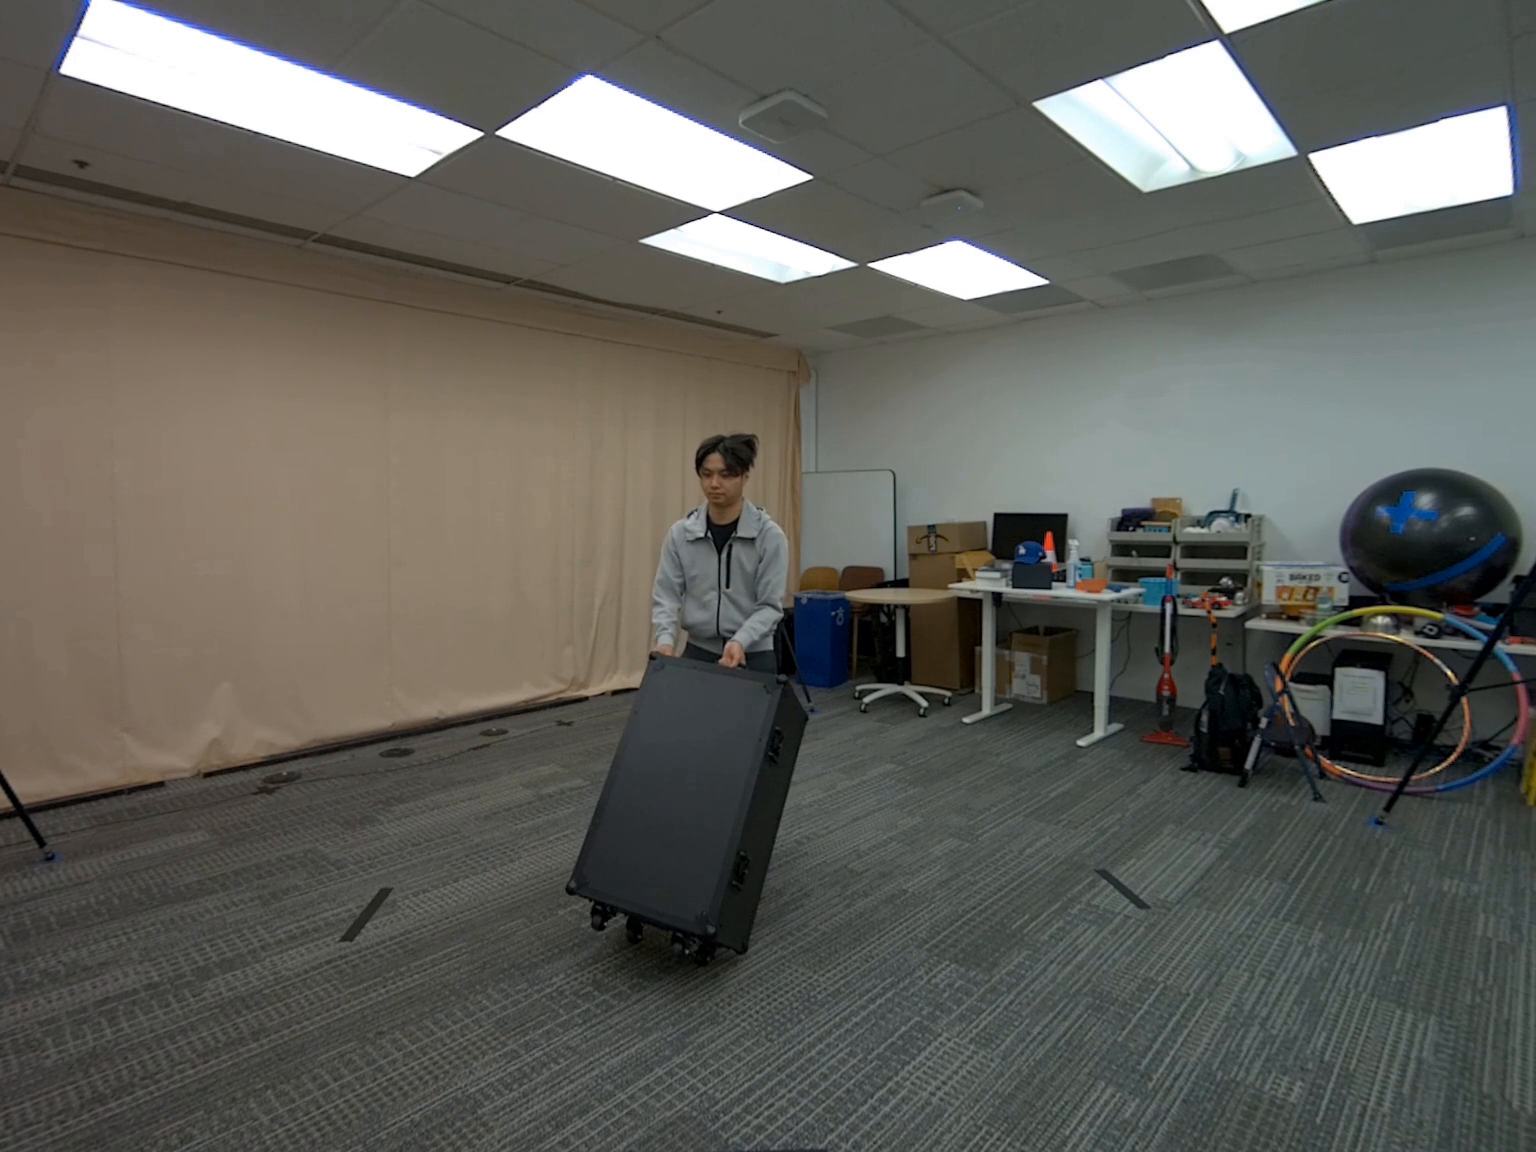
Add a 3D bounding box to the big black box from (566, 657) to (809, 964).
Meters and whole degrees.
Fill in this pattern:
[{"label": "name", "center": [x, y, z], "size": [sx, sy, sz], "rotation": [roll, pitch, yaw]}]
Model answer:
[{"label": "big black box", "center": [-0.239, 0.745, 2.694], "size": [0.534, 0.866, 0.384], "rotation": [7, -28, 22]}]
